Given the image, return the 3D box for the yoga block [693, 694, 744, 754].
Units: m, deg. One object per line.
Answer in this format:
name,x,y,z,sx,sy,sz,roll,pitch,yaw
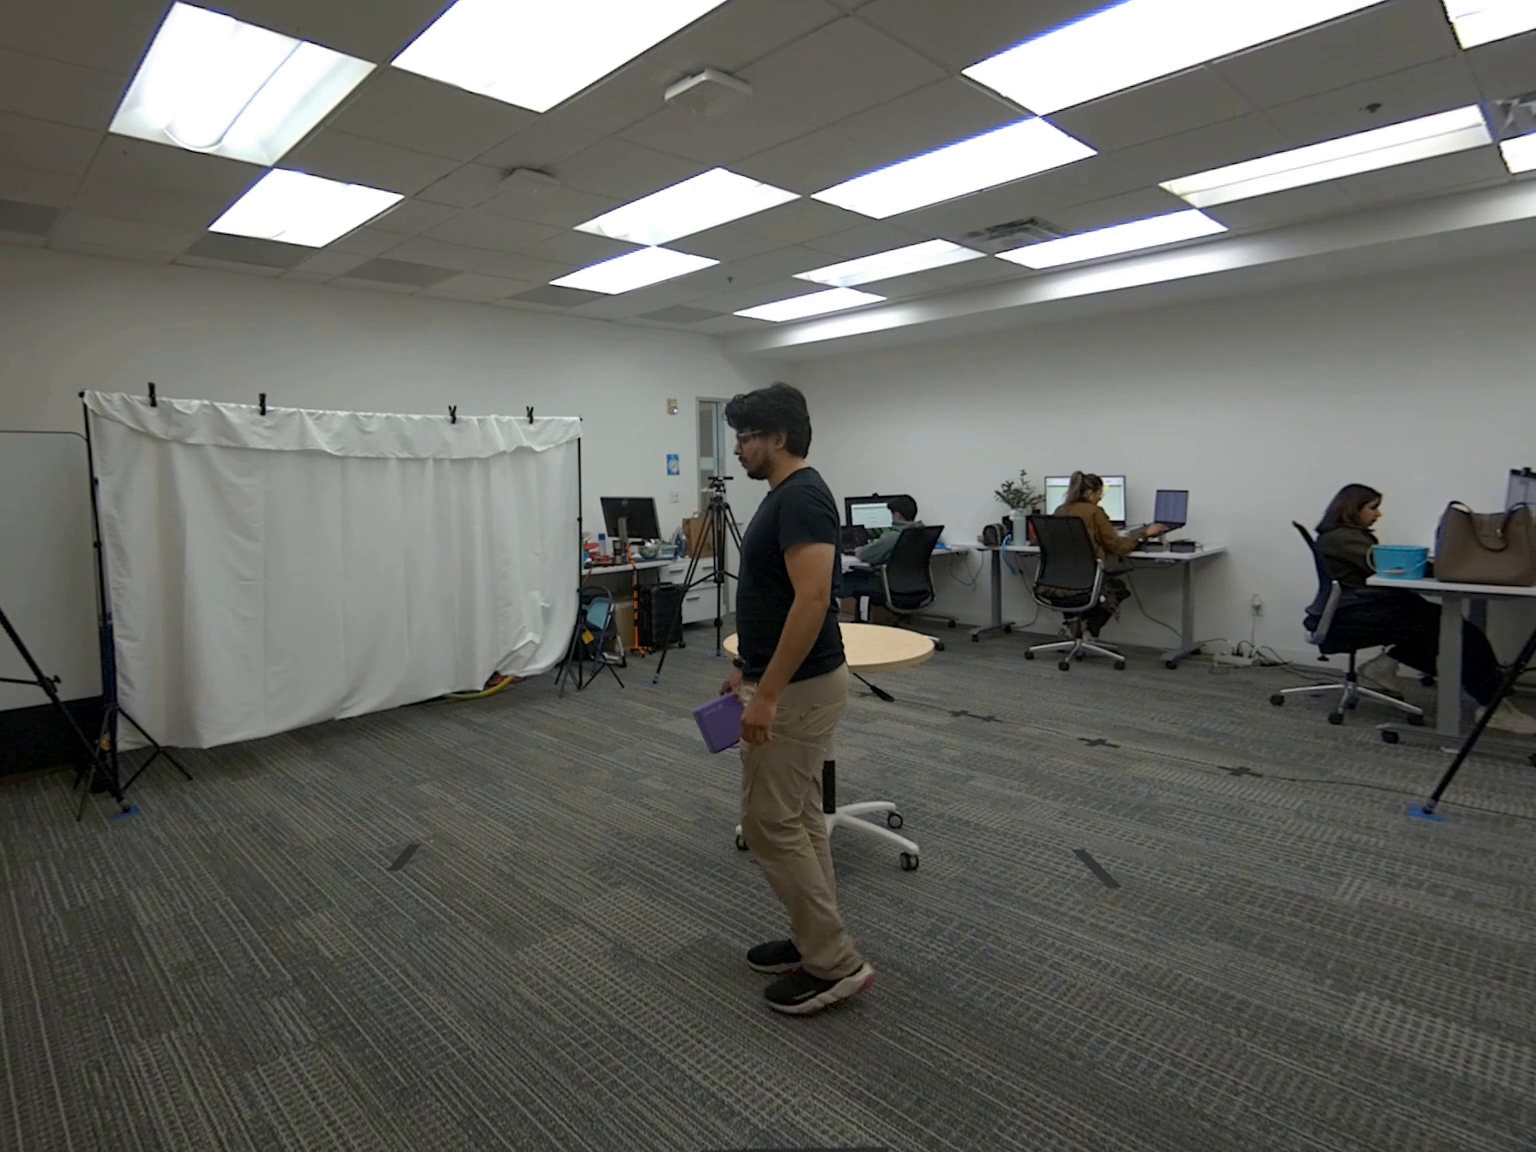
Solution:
yoga block,-0.089,0.441,2.642,0.228,0.150,0.076,-24,-6,-12
